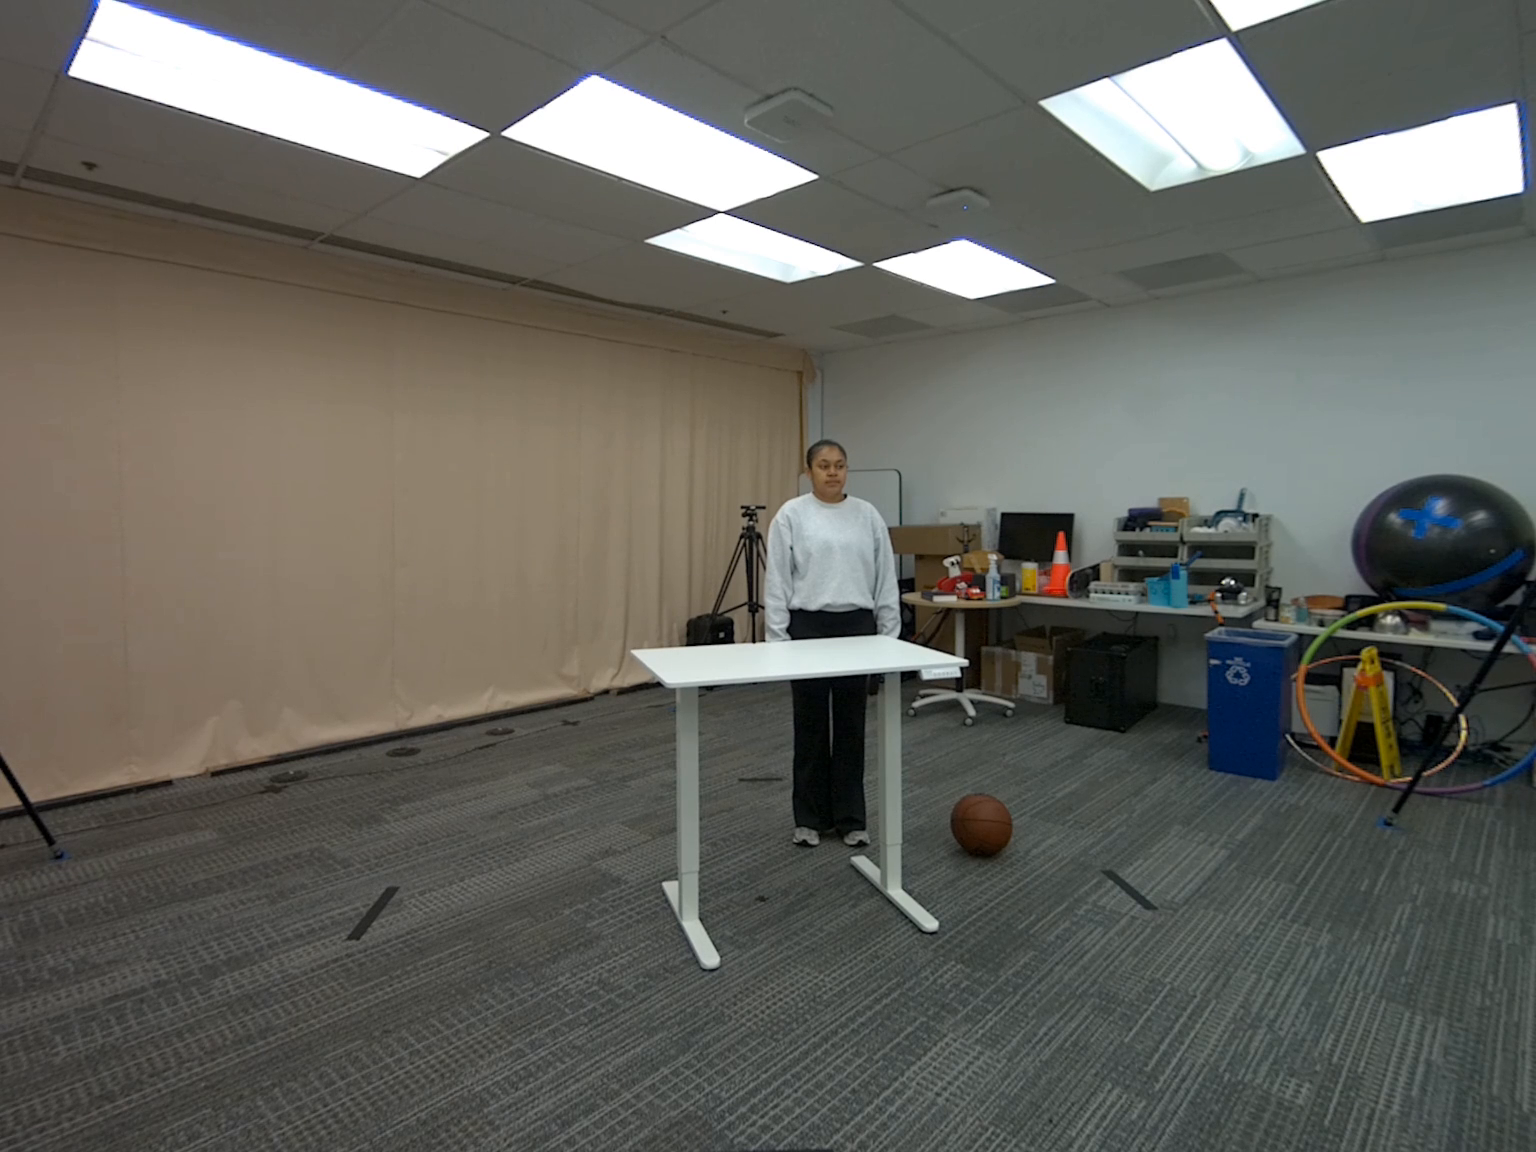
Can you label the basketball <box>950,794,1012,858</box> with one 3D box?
[{"bbox_3d":[0.855,0.990,3.369,0.236,0.235,0.237,0,4,-2],"label":"basketball"}]
